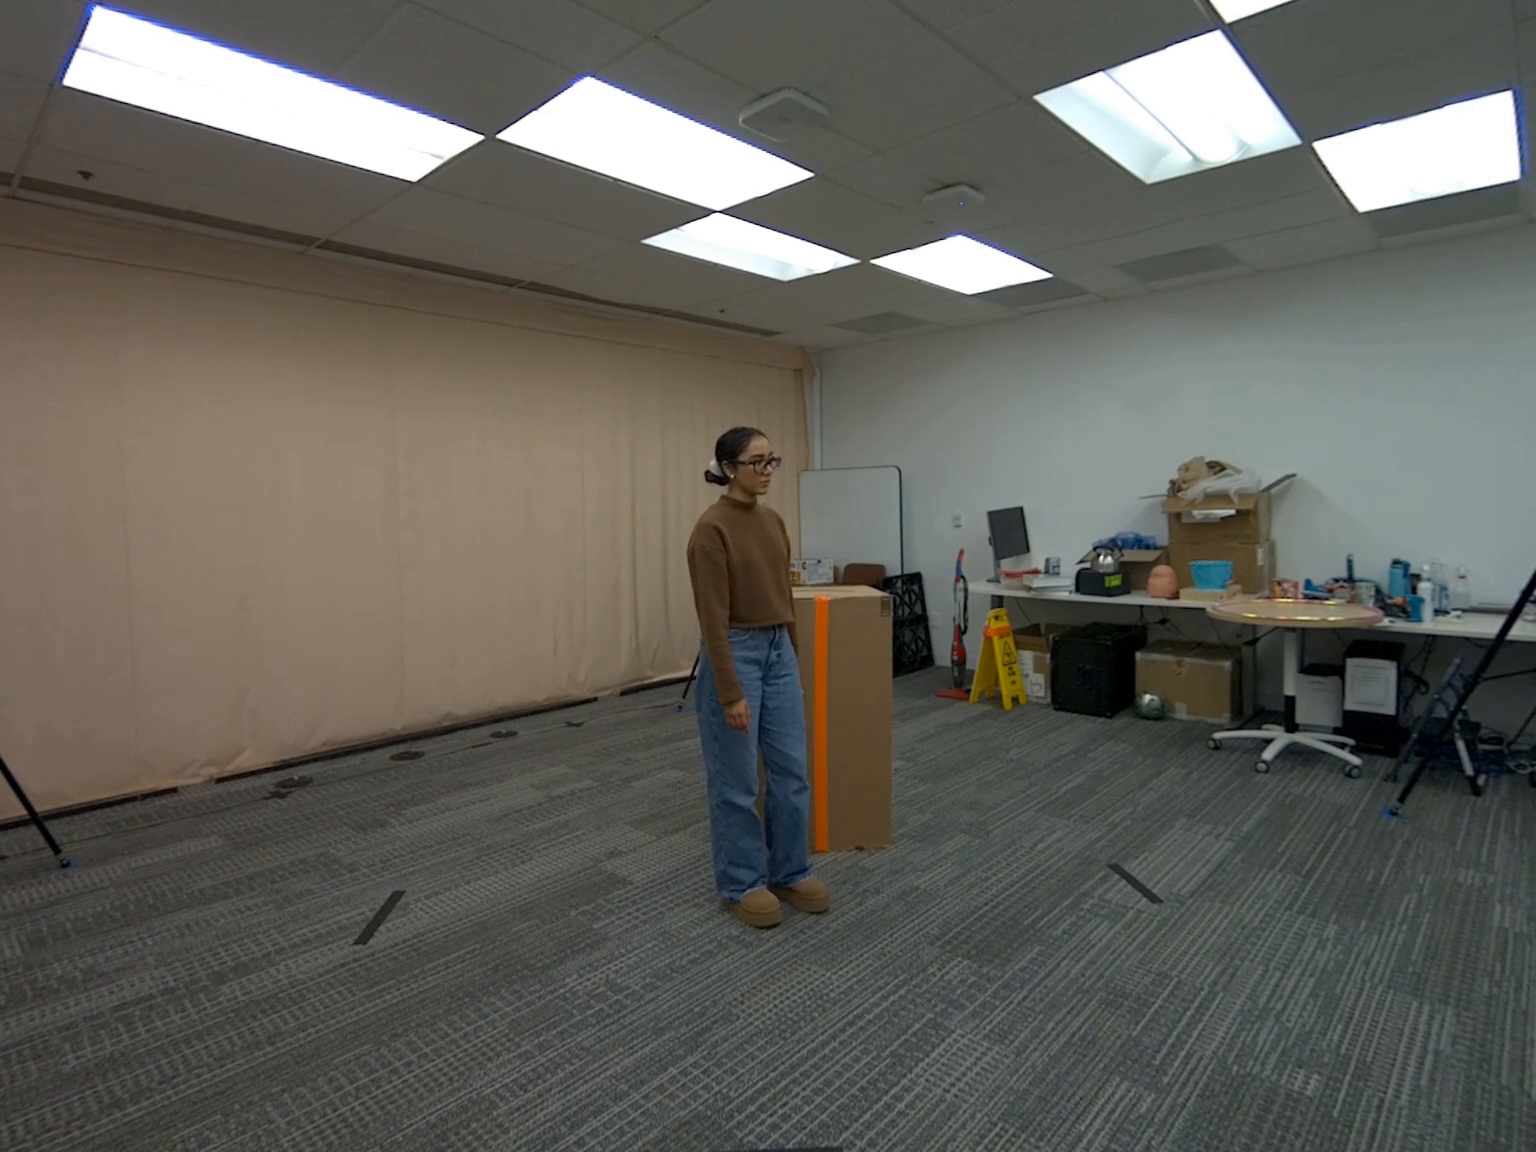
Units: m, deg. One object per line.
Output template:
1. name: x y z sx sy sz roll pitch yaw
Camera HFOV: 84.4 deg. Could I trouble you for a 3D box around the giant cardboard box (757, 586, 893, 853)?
1. giant cardboard box: 0.191 0.574 3.557 0.574 1.024 0.430 -1 3 -7
